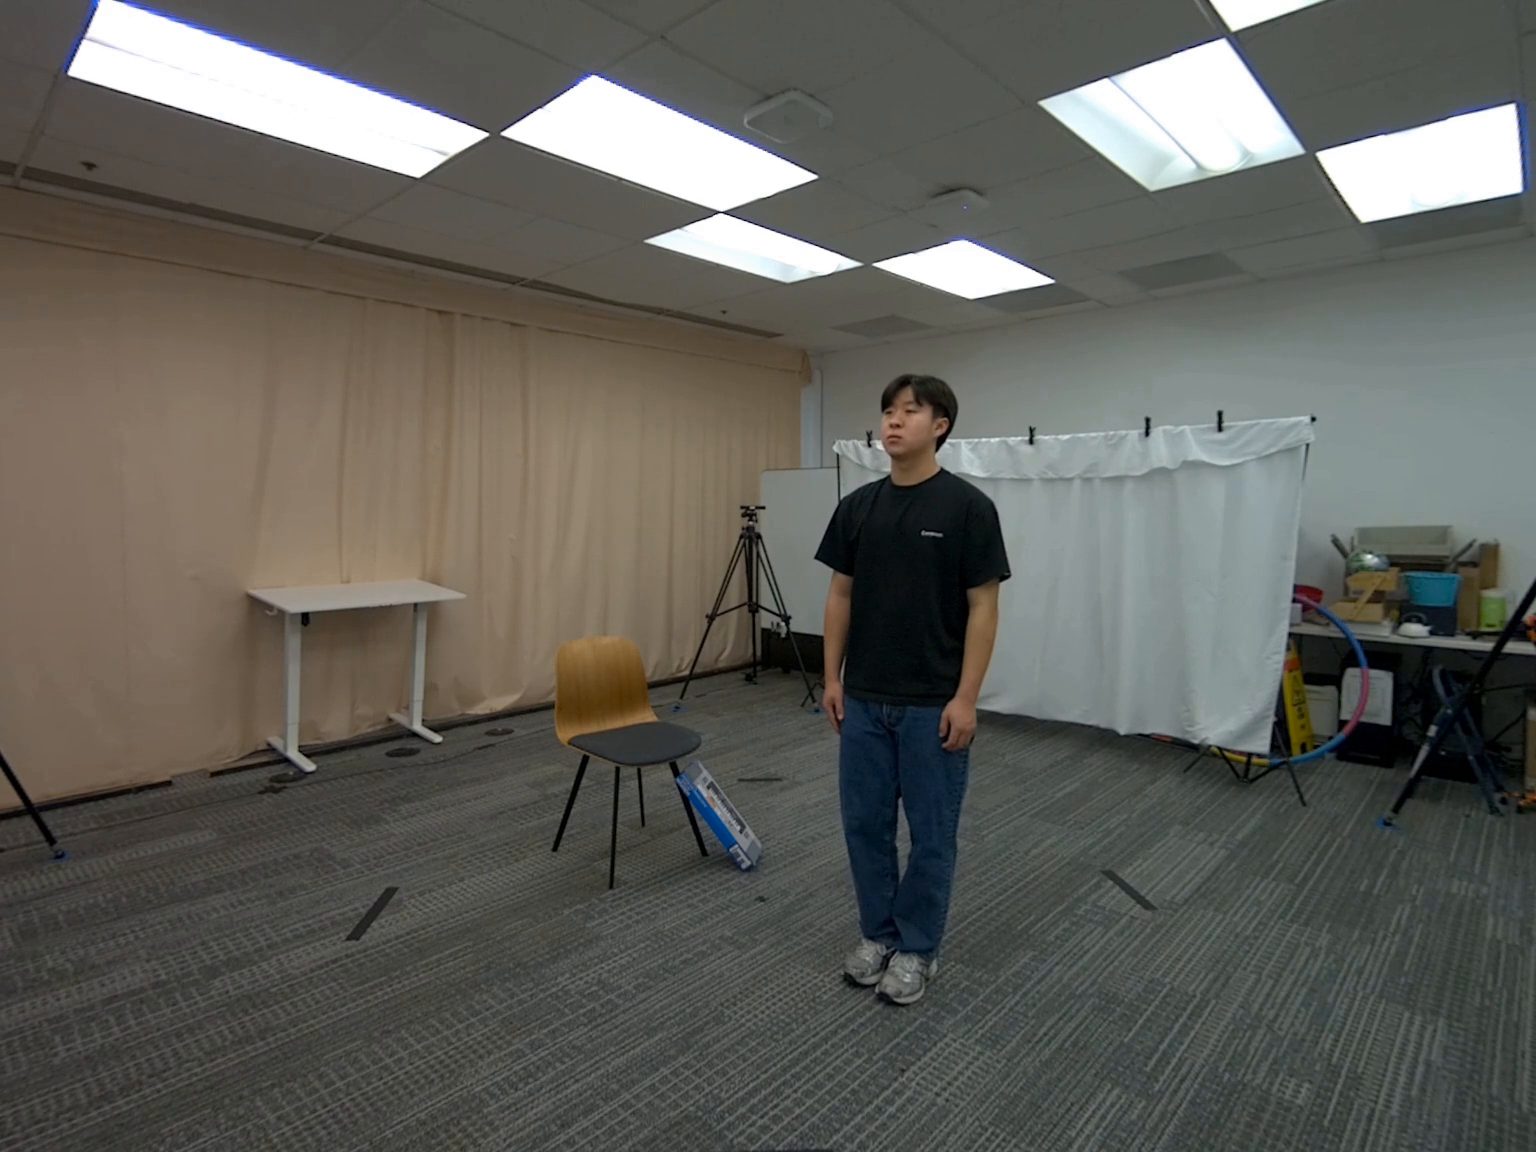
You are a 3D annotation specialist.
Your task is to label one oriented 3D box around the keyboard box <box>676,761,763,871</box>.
[{"bbox_3d":[-0.186,0.940,3.306,0.059,0.440,0.173,-40,-7,12],"label":"keyboard box"}]
